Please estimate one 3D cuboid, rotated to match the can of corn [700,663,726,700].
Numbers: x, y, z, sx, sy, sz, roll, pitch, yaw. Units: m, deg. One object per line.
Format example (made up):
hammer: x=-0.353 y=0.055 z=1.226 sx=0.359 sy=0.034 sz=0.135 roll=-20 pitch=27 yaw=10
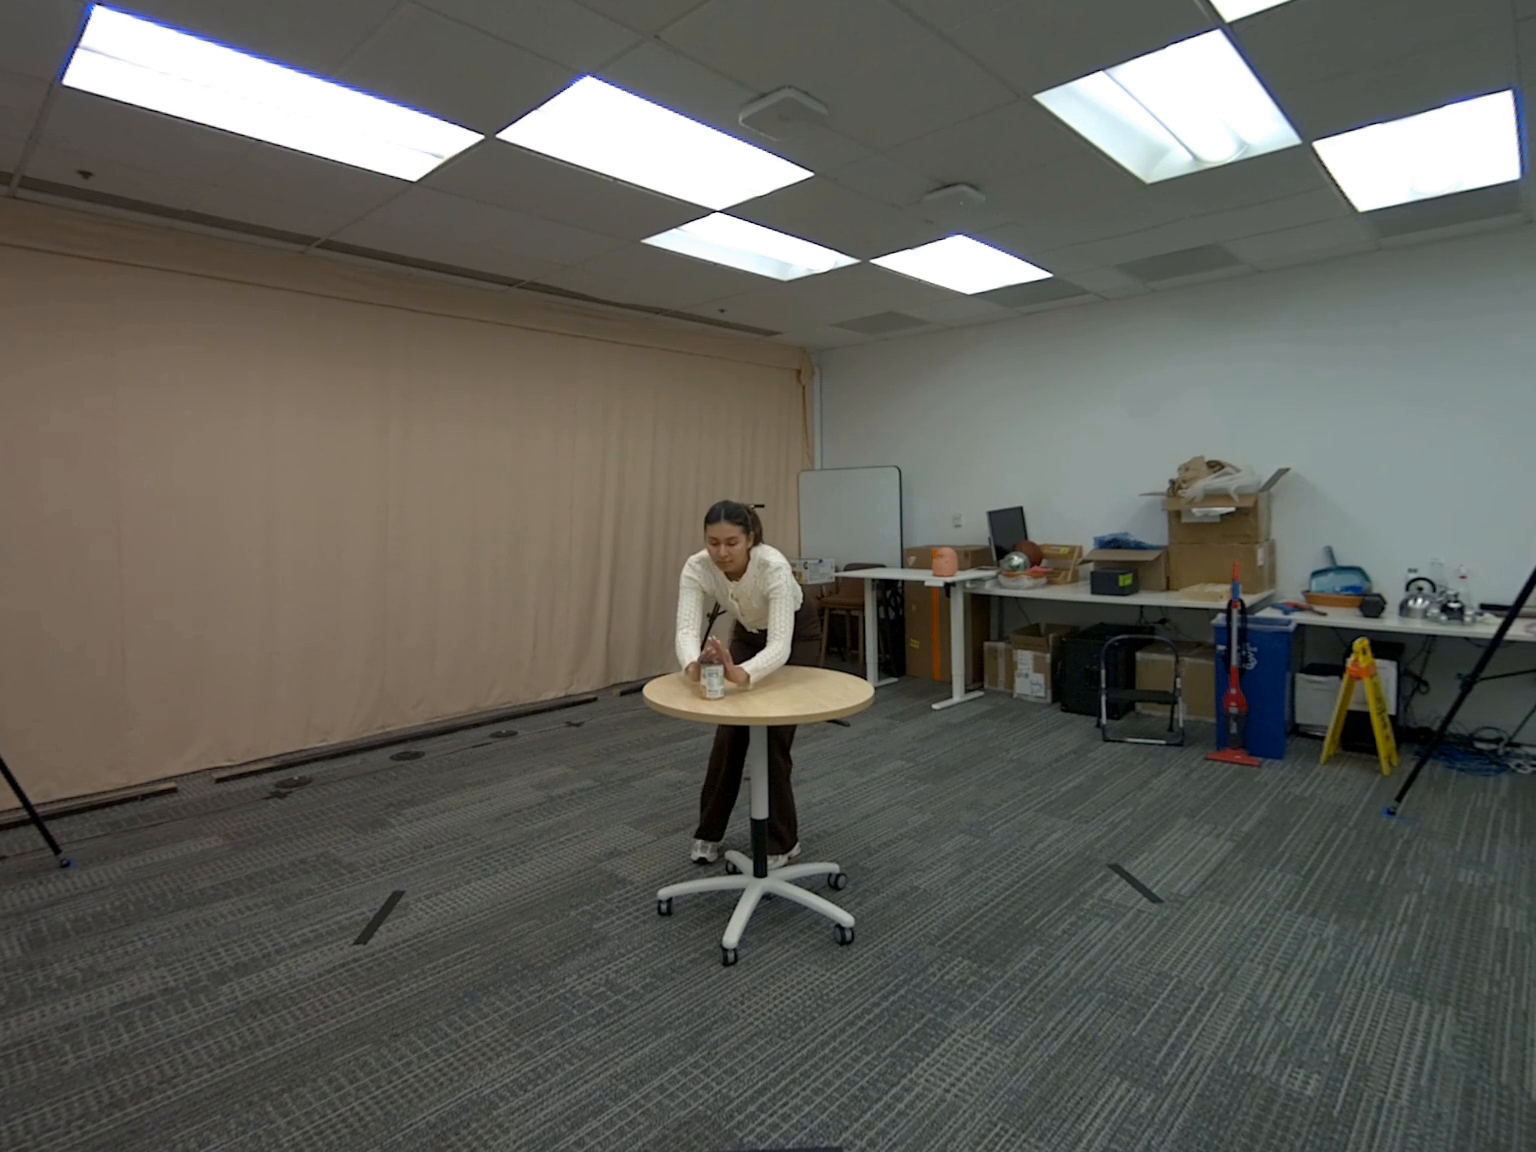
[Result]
can of corn: x=-0.174 y=0.331 z=2.660 sx=0.074 sy=0.111 sz=0.074 roll=-1 pitch=3 yaw=-2
